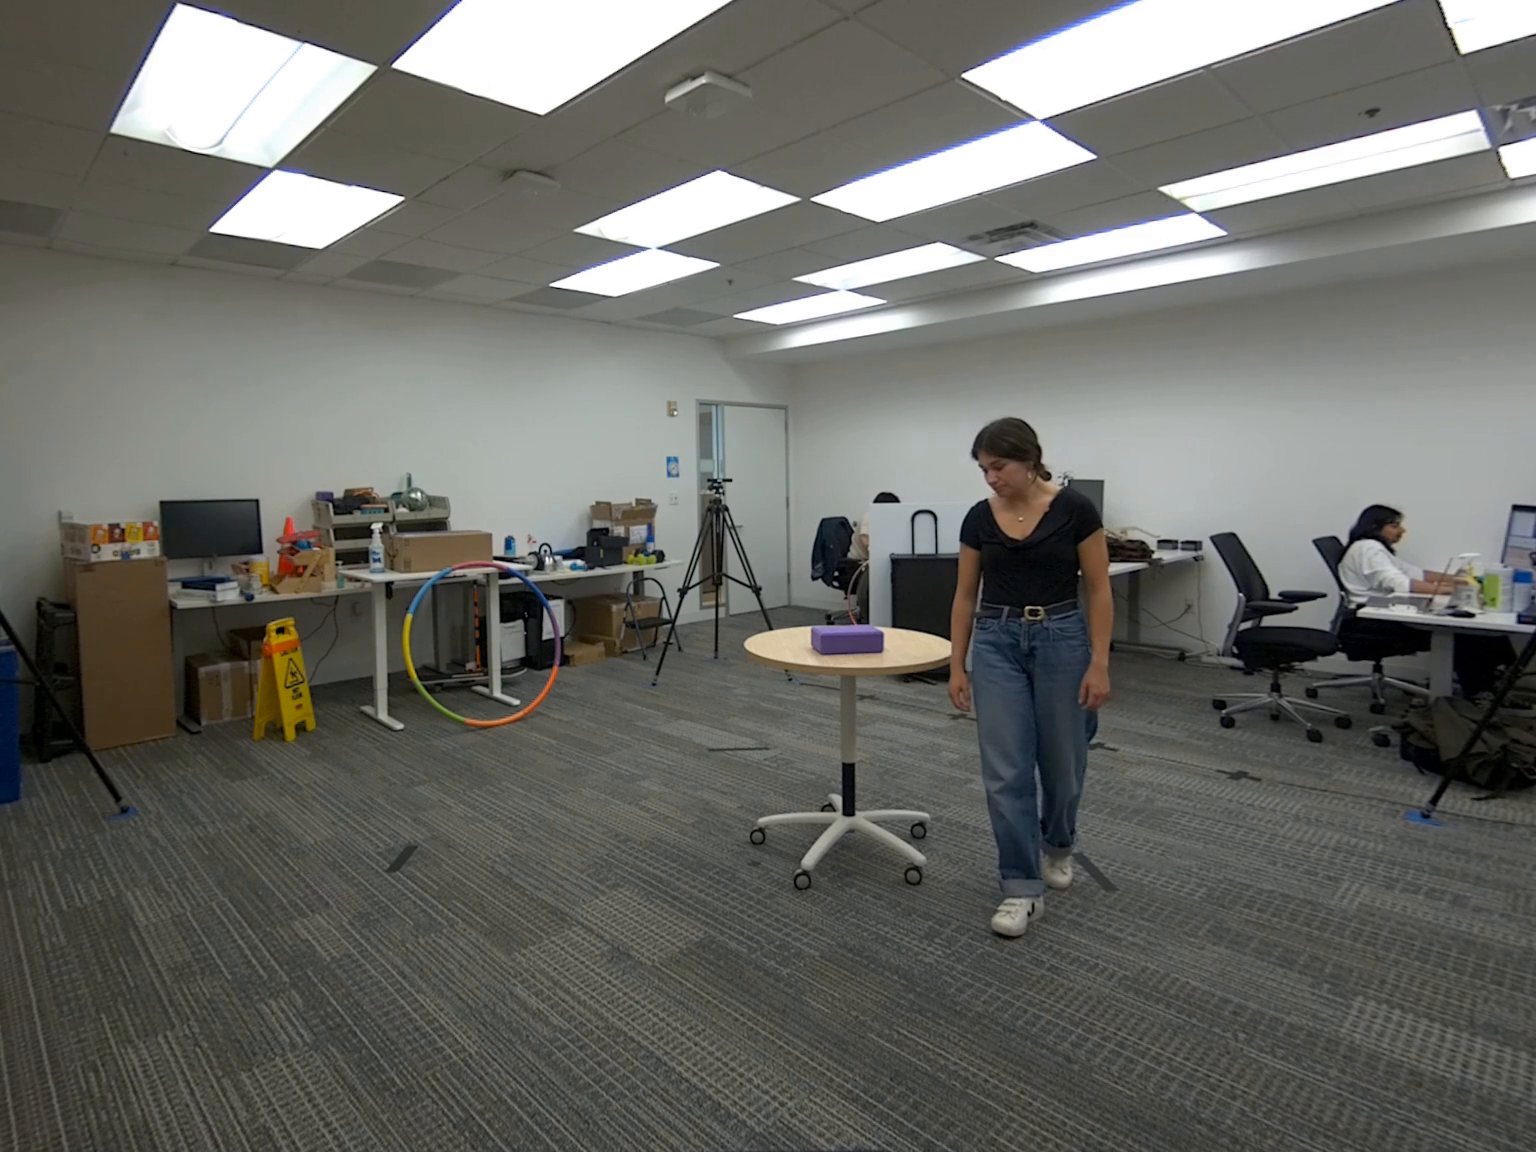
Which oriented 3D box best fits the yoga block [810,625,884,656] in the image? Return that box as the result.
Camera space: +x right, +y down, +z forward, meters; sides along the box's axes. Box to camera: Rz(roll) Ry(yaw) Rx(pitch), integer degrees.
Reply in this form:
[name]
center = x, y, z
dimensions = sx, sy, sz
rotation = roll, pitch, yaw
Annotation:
[yoga block]
center = 0.286, 0.229, 3.041
dimensions = 0.227, 0.076, 0.151
rotation = -1, 6, -9
